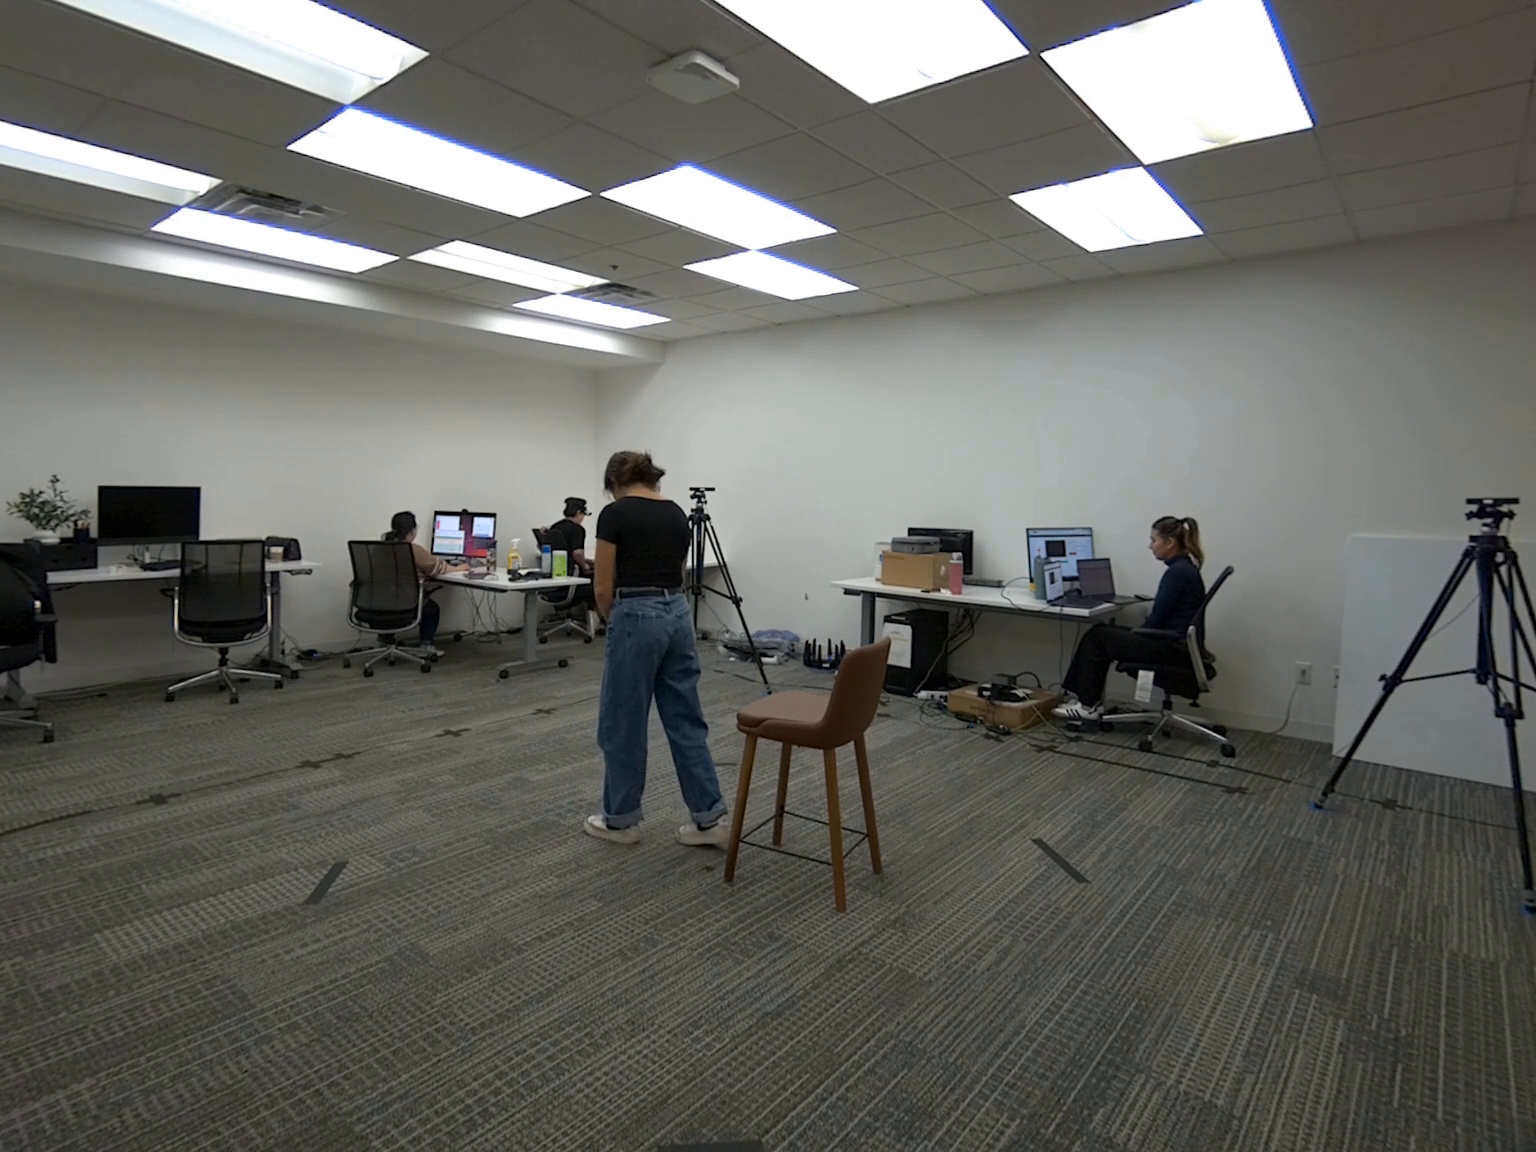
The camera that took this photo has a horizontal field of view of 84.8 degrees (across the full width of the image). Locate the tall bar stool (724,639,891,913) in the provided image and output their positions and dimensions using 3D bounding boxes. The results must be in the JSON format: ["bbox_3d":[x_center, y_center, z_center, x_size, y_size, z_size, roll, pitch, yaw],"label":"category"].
[{"bbox_3d":[0.141,0.645,3.047,0.482,0.886,0.445,5,5,29],"label":"tall bar stool"}]
